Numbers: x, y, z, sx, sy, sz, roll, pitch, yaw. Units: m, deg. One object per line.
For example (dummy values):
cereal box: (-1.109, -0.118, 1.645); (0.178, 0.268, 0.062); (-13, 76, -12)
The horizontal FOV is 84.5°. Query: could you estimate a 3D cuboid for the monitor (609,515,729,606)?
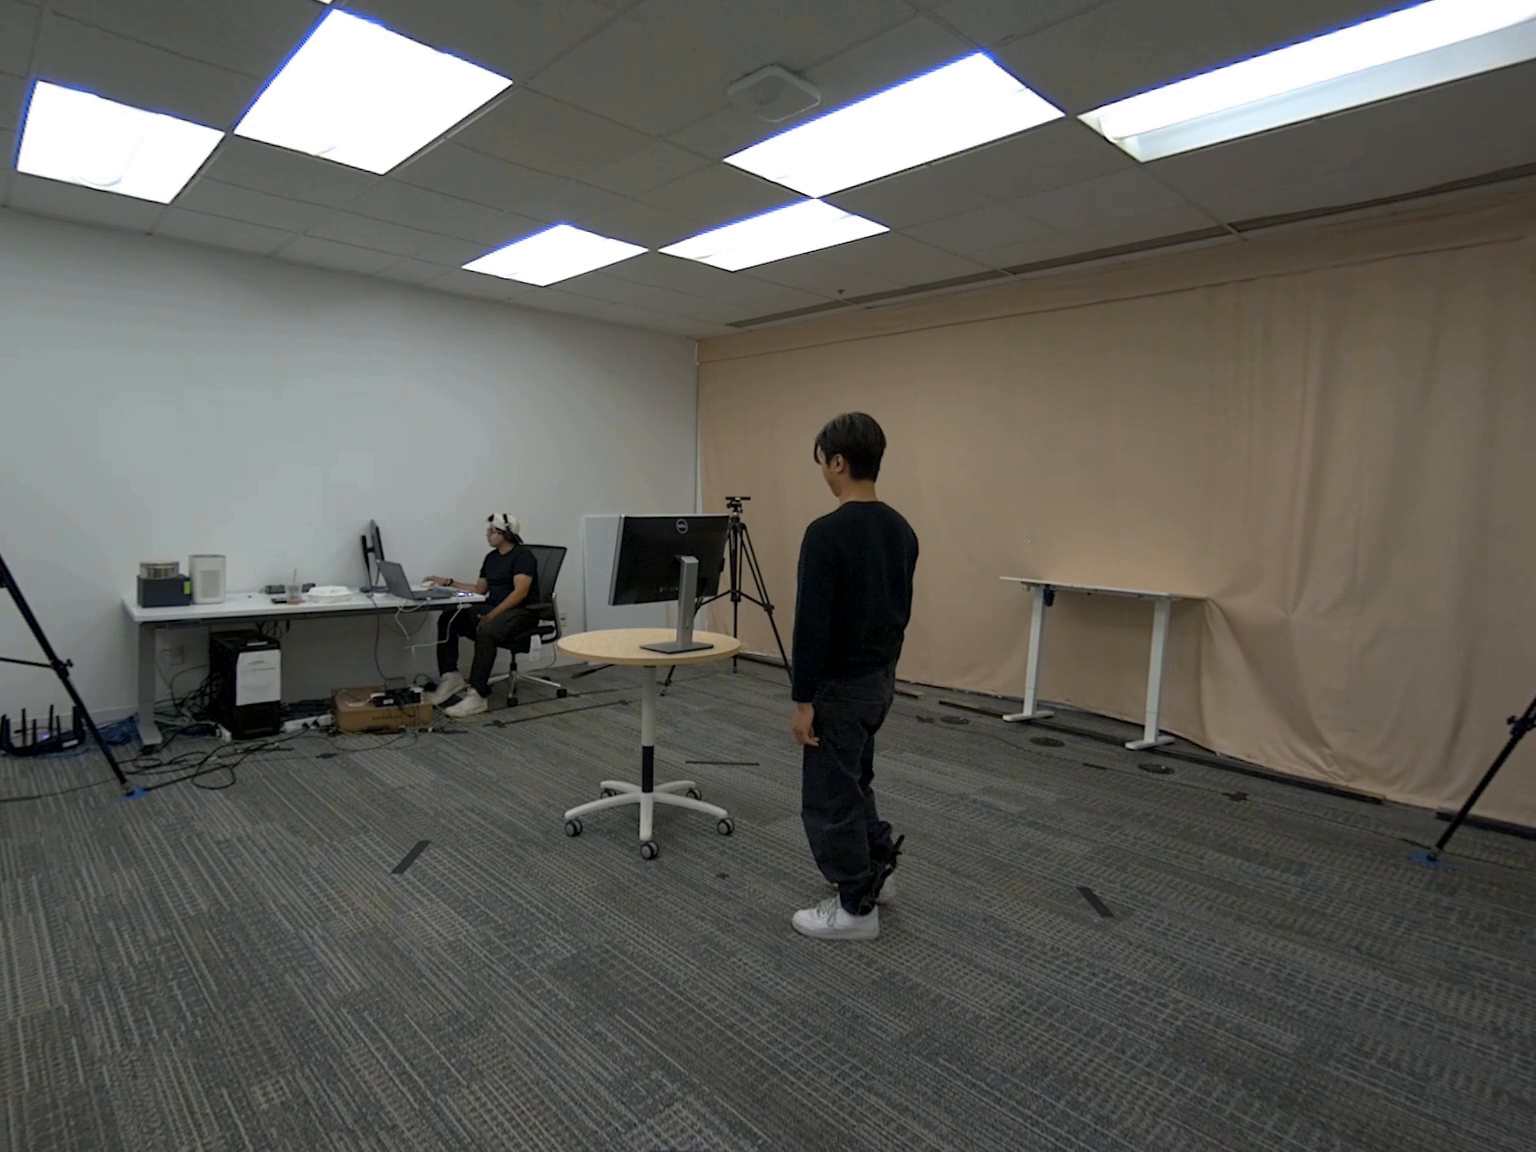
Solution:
monitor: (-0.372, 0.027, 3.391); (0.192, 0.521, 0.527); (3, 4, 43)
